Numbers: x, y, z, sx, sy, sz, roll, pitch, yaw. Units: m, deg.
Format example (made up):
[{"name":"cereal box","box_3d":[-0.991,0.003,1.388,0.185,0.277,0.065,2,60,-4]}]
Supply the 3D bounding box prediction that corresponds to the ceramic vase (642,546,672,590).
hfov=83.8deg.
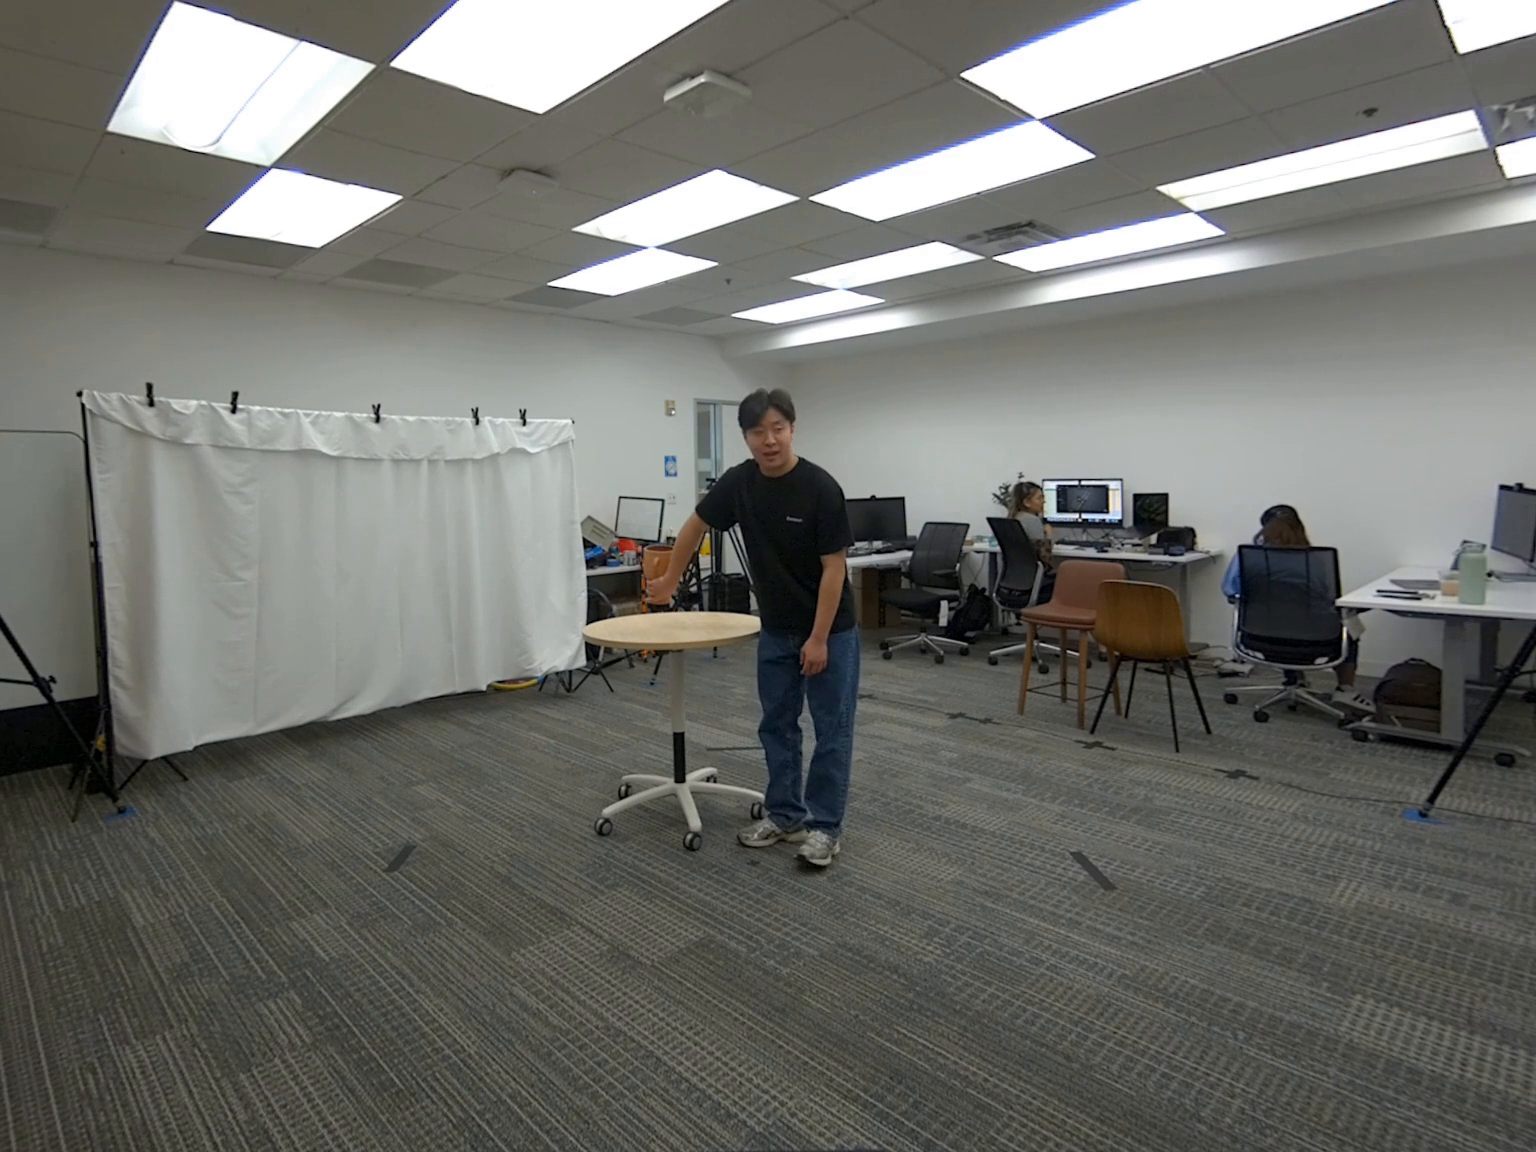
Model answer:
[{"name":"ceramic vase","box_3d":[-0.430,-0.004,3.450,0.139,0.218,0.155,13,14,40]}]
